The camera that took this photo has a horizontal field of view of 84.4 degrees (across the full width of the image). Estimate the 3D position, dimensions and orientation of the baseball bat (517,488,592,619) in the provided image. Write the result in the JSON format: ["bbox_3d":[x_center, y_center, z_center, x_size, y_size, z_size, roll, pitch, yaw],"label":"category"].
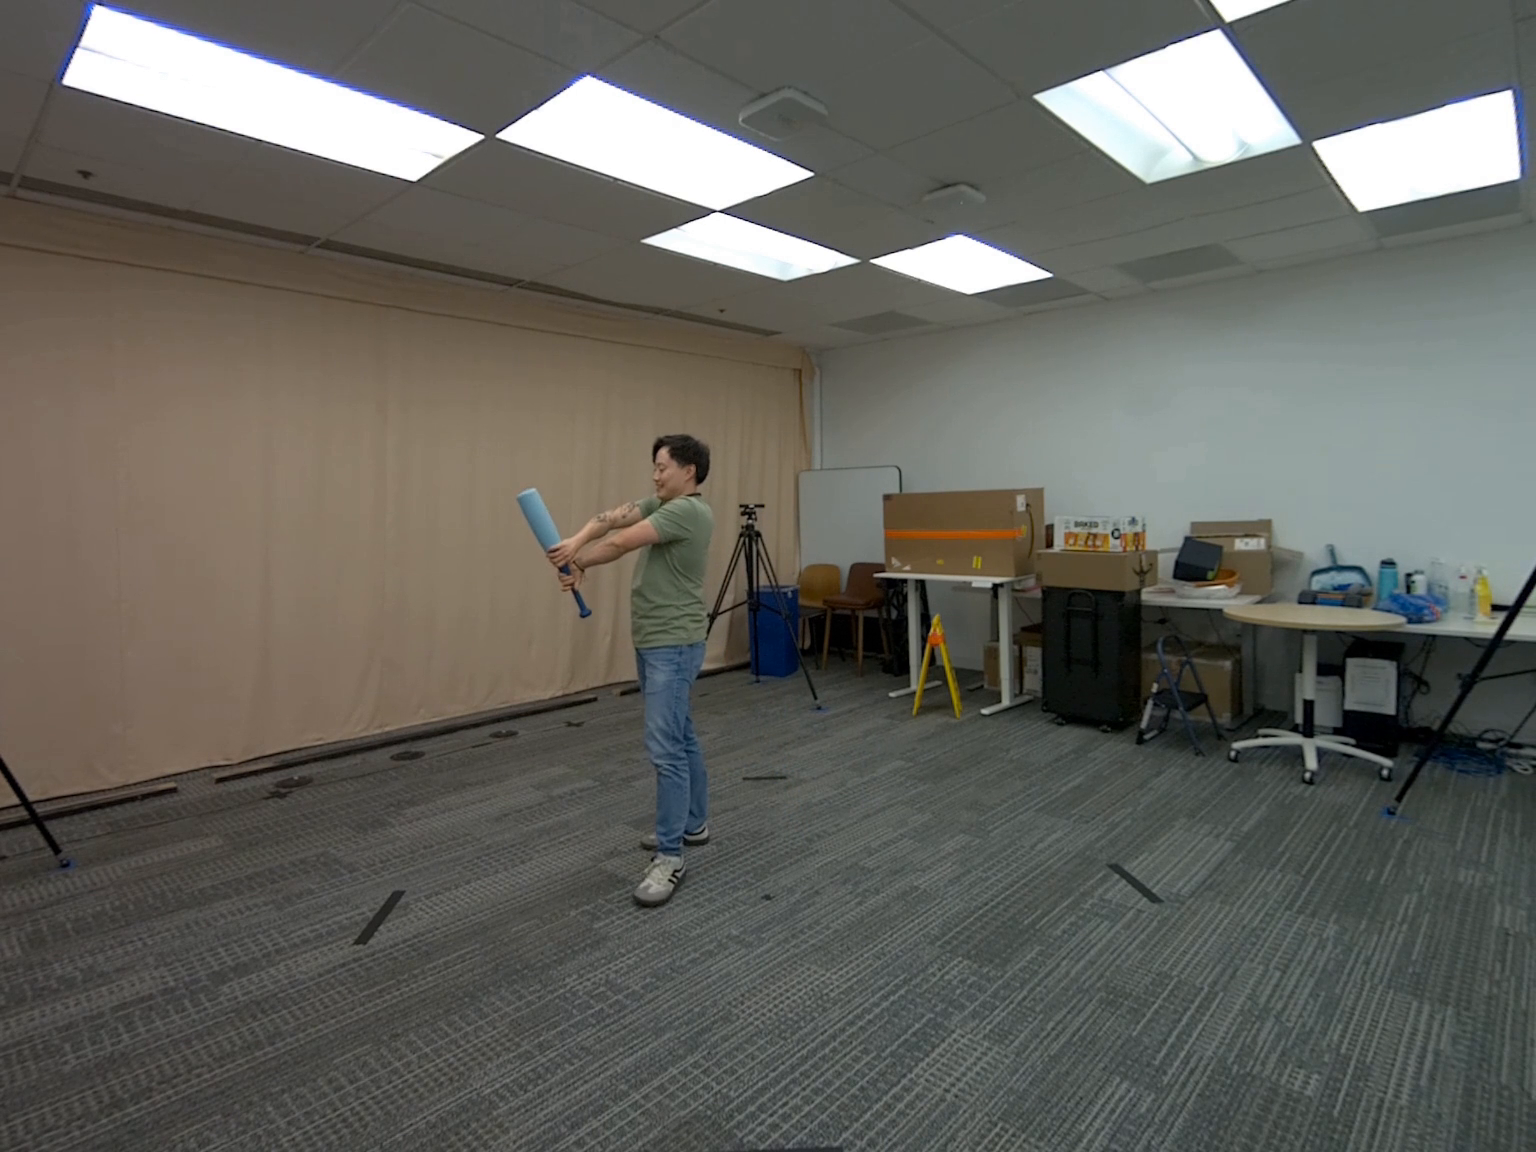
[{"bbox_3d":[-0.826,-0.083,3.261,0.089,0.537,0.090,-24,10,3],"label":"baseball bat"}]
